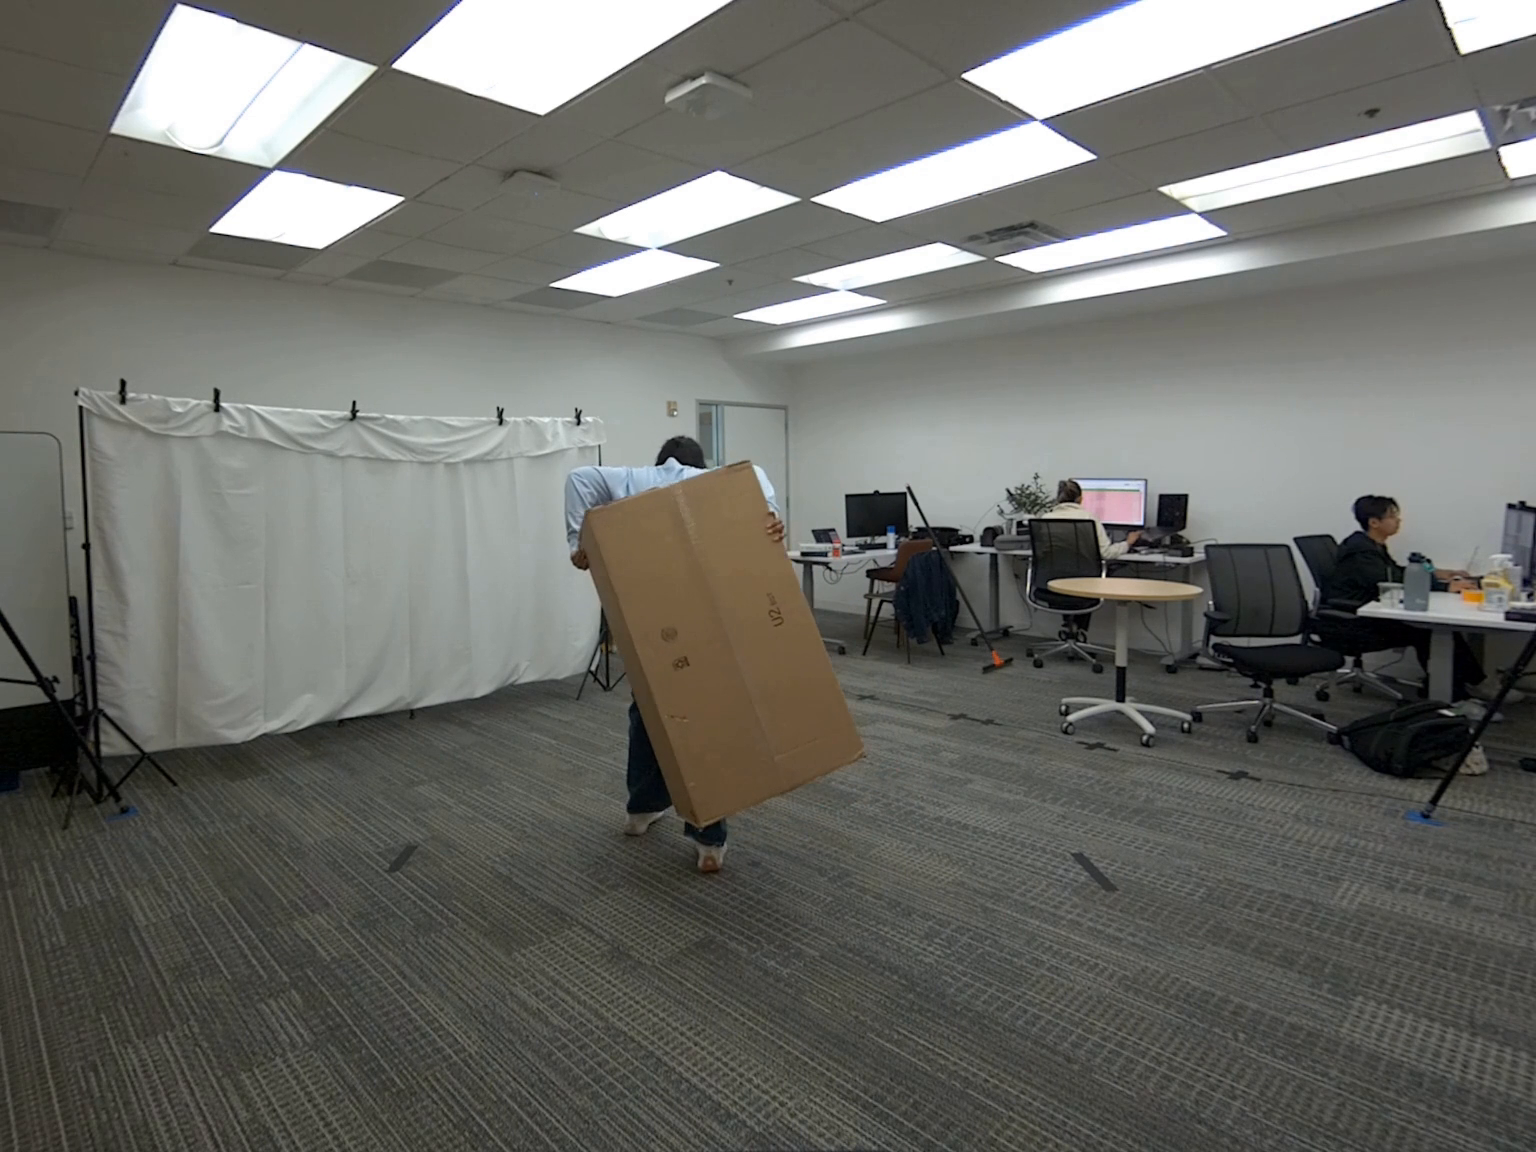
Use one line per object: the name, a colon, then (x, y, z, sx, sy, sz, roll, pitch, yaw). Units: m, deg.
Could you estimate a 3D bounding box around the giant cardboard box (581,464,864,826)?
giant cardboard box: (-0.183, 0.220, 2.854, 0.571, 1.036, 0.426, -19, -8, -17)
